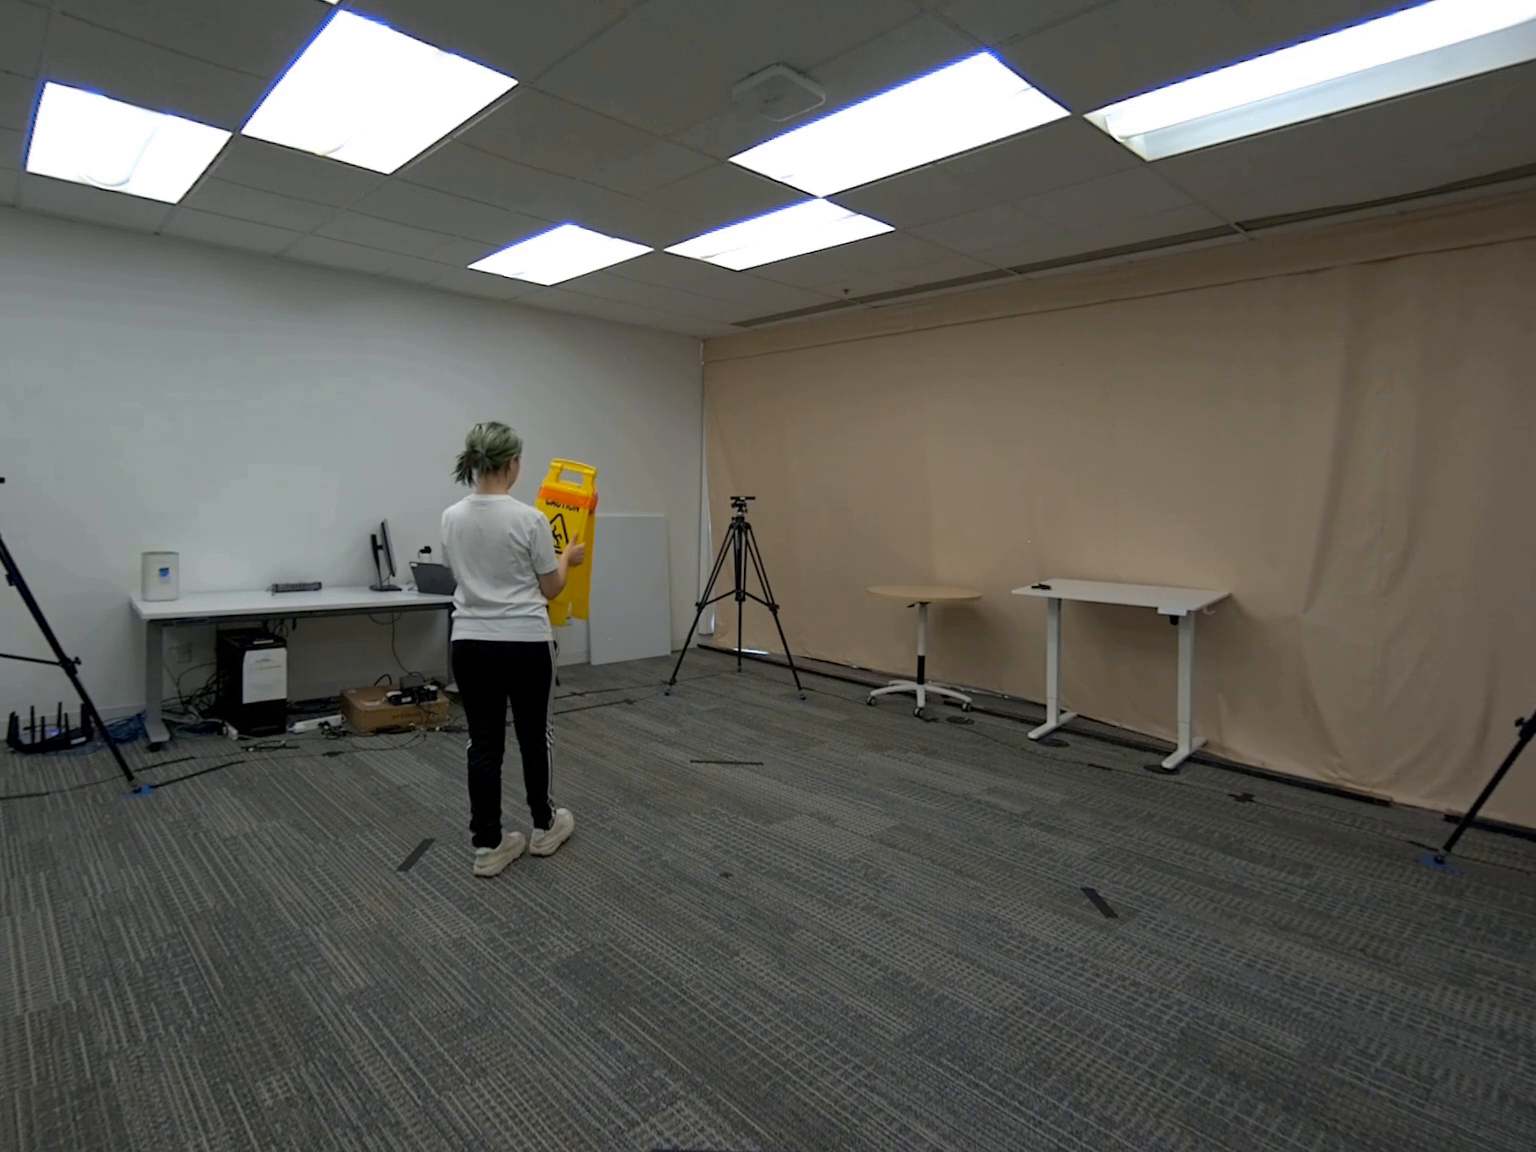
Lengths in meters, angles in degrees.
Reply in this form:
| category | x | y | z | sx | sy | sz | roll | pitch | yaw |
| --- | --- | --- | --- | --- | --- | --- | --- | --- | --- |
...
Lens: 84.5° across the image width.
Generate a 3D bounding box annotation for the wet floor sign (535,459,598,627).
| category | x | y | z | sx | sy | sz | roll | pitch | yaw |
| --- | --- | --- | --- | --- | --- | --- | --- | --- | --- |
| wet floor sign | -0.878 | -0.152 | 3.493 | 0.285 | 0.644 | 0.288 | 14 | 4 | 9 |
